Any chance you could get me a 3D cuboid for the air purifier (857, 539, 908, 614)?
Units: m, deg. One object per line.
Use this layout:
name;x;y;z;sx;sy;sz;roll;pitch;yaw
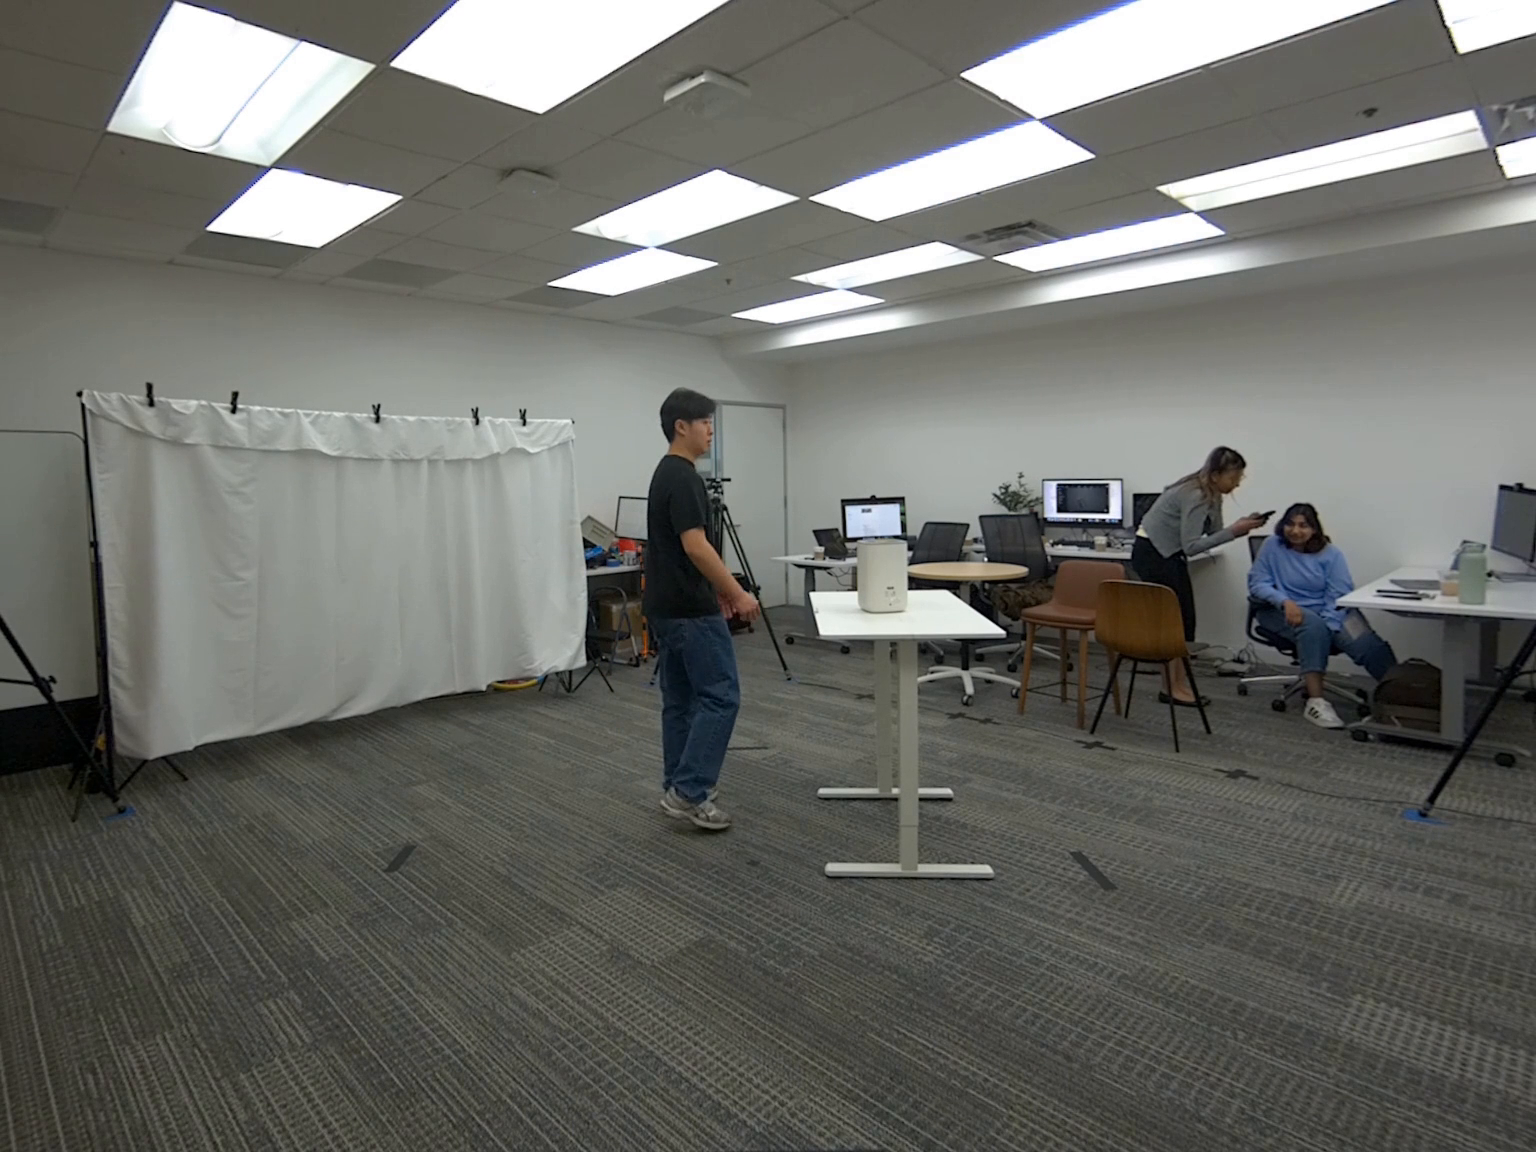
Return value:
air purifier;0.444;-0.001;3.263;0.170;0.264;0.173;-2;6;-6
